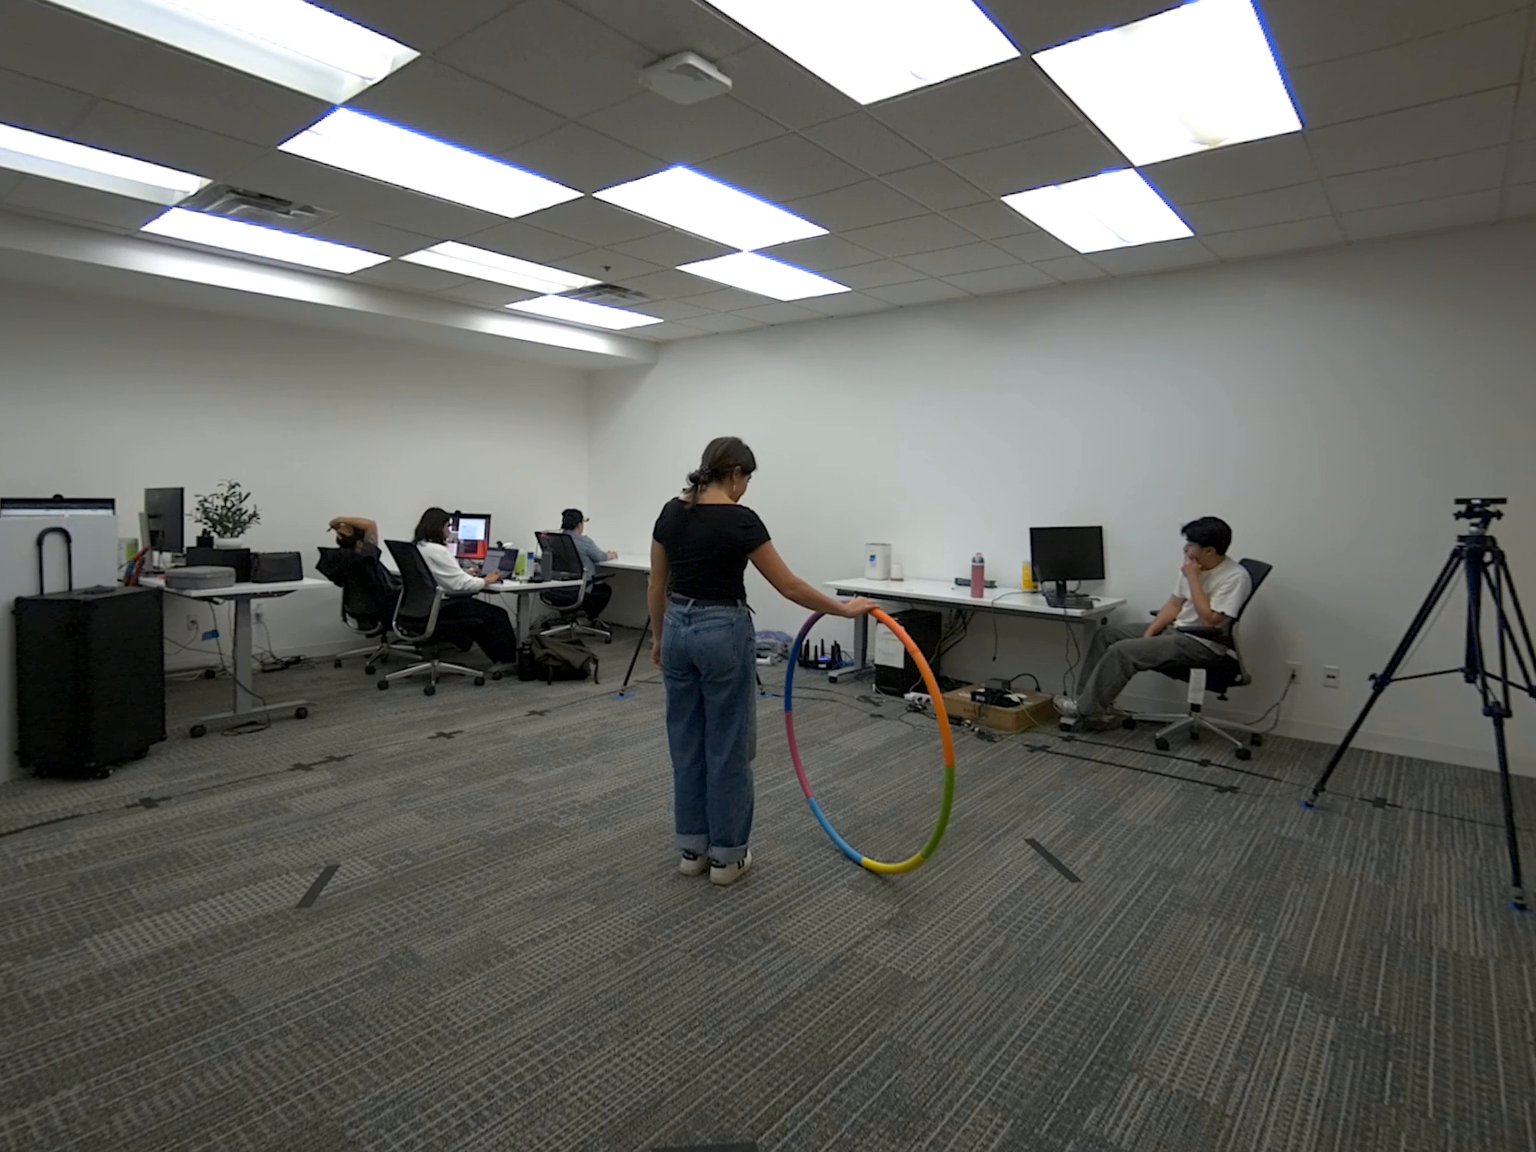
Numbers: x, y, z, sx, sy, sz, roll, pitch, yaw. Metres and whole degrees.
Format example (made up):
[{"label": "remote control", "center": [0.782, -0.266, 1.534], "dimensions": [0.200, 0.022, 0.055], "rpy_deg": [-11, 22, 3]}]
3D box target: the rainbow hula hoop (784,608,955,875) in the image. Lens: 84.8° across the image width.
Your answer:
[{"label": "rainbow hula hoop", "center": [0.333, 0.570, 3.145], "dimensions": [0.034, 0.974, 1.009], "rpy_deg": [-4, 6, -31]}]
